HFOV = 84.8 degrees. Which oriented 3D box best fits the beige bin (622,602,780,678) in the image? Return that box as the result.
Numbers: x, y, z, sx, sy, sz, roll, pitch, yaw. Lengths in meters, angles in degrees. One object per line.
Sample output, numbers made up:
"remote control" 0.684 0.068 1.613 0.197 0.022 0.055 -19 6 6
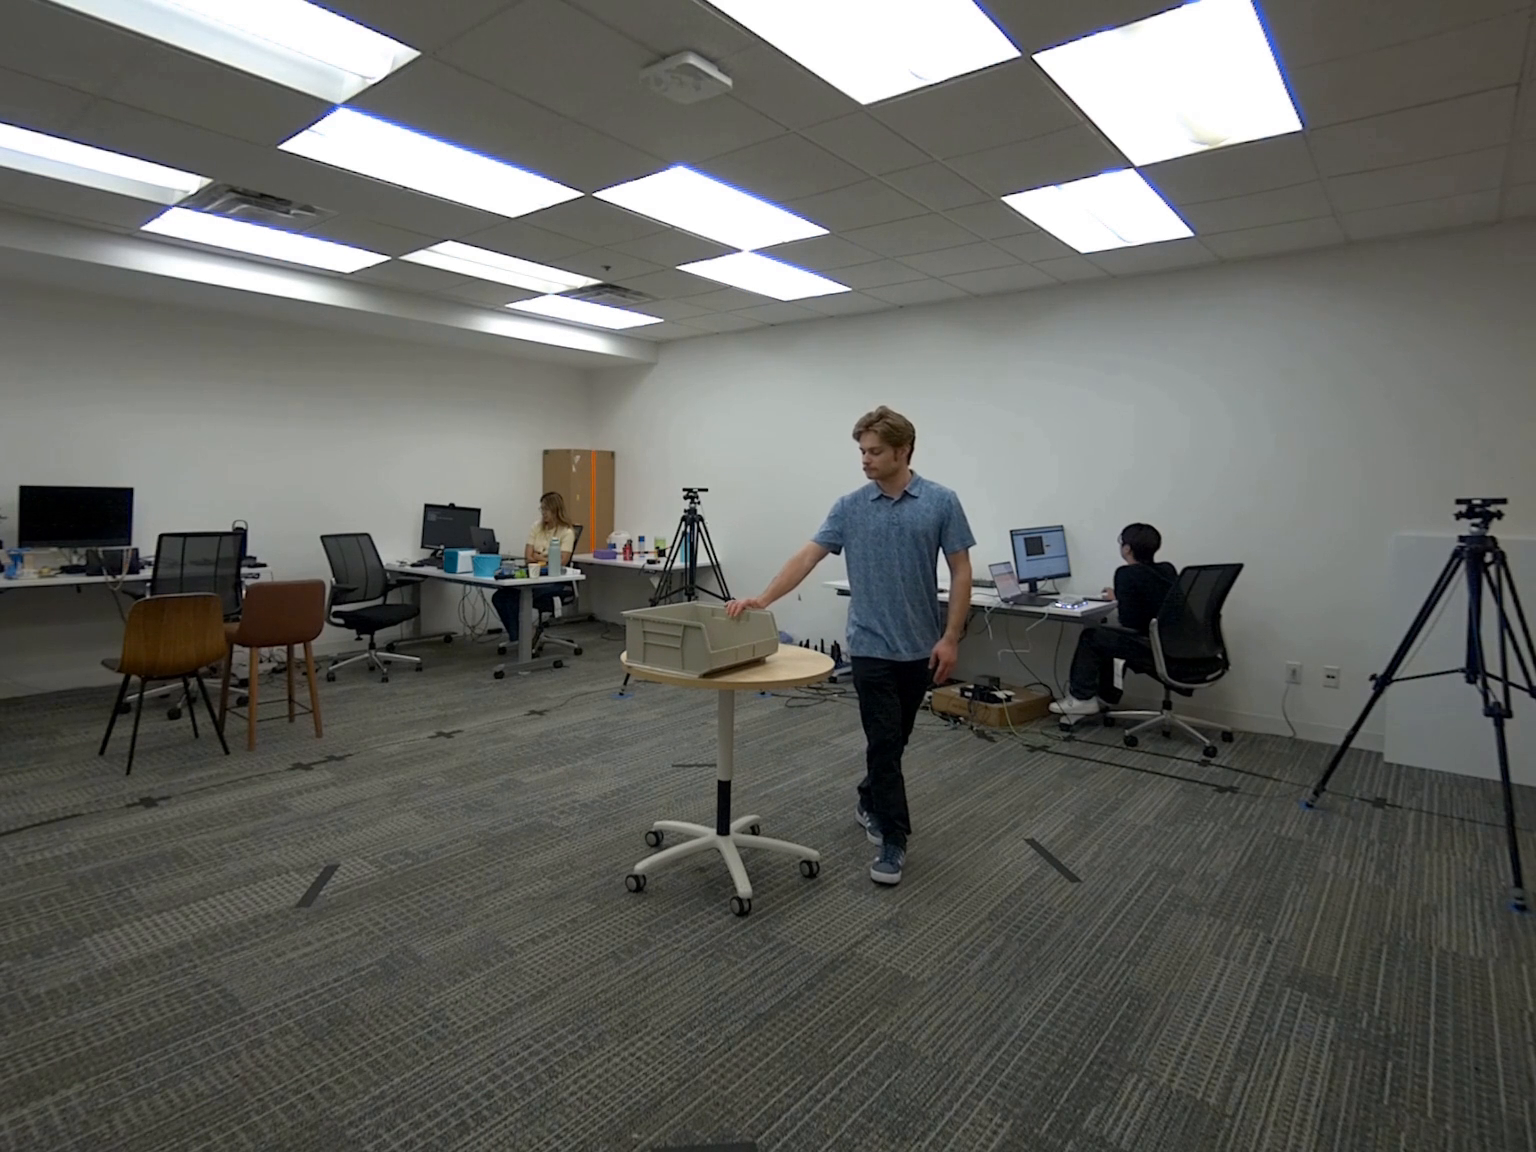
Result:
"beige bin" -0.237 0.210 2.938 0.389 0.188 0.411 3 6 32
